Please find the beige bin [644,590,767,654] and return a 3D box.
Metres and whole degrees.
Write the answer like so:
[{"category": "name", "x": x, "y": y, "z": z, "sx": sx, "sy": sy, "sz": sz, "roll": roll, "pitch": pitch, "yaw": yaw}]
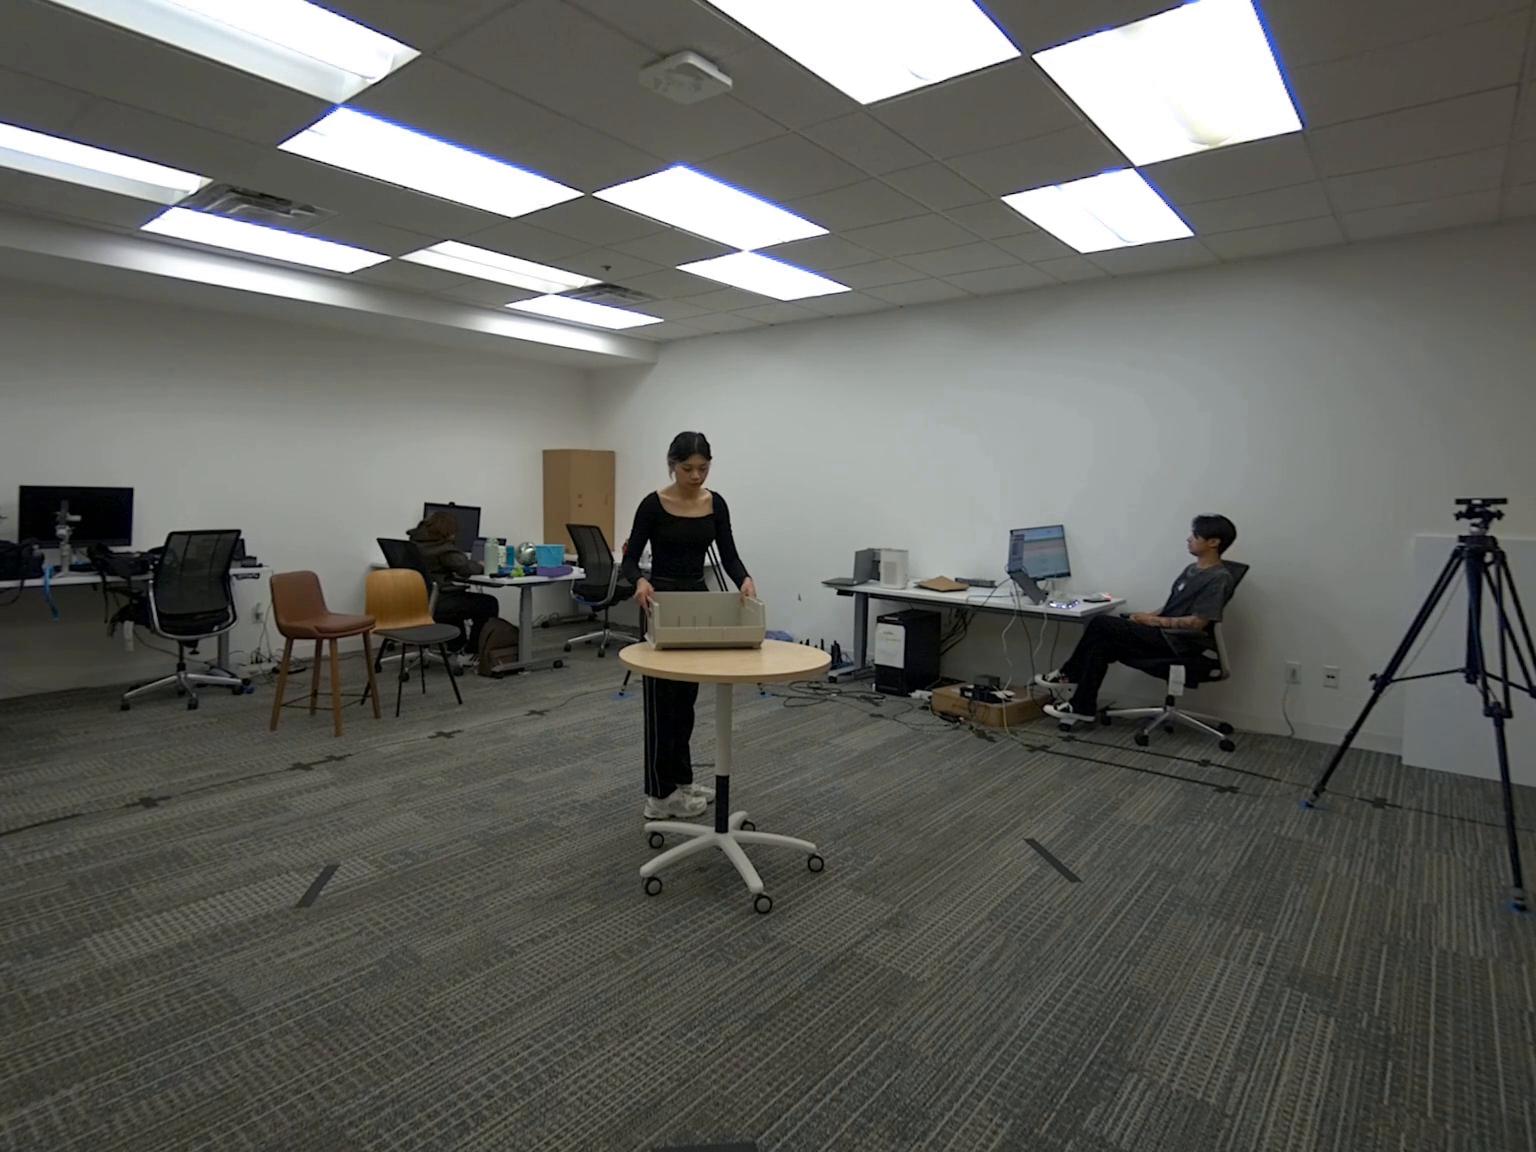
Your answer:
[{"category": "beige bin", "x": -0.258, "y": 0.169, "z": 3.293, "sx": 0.417, "sy": 0.188, "sz": 0.383, "roll": 0, "pitch": 4, "yaw": -12}]
